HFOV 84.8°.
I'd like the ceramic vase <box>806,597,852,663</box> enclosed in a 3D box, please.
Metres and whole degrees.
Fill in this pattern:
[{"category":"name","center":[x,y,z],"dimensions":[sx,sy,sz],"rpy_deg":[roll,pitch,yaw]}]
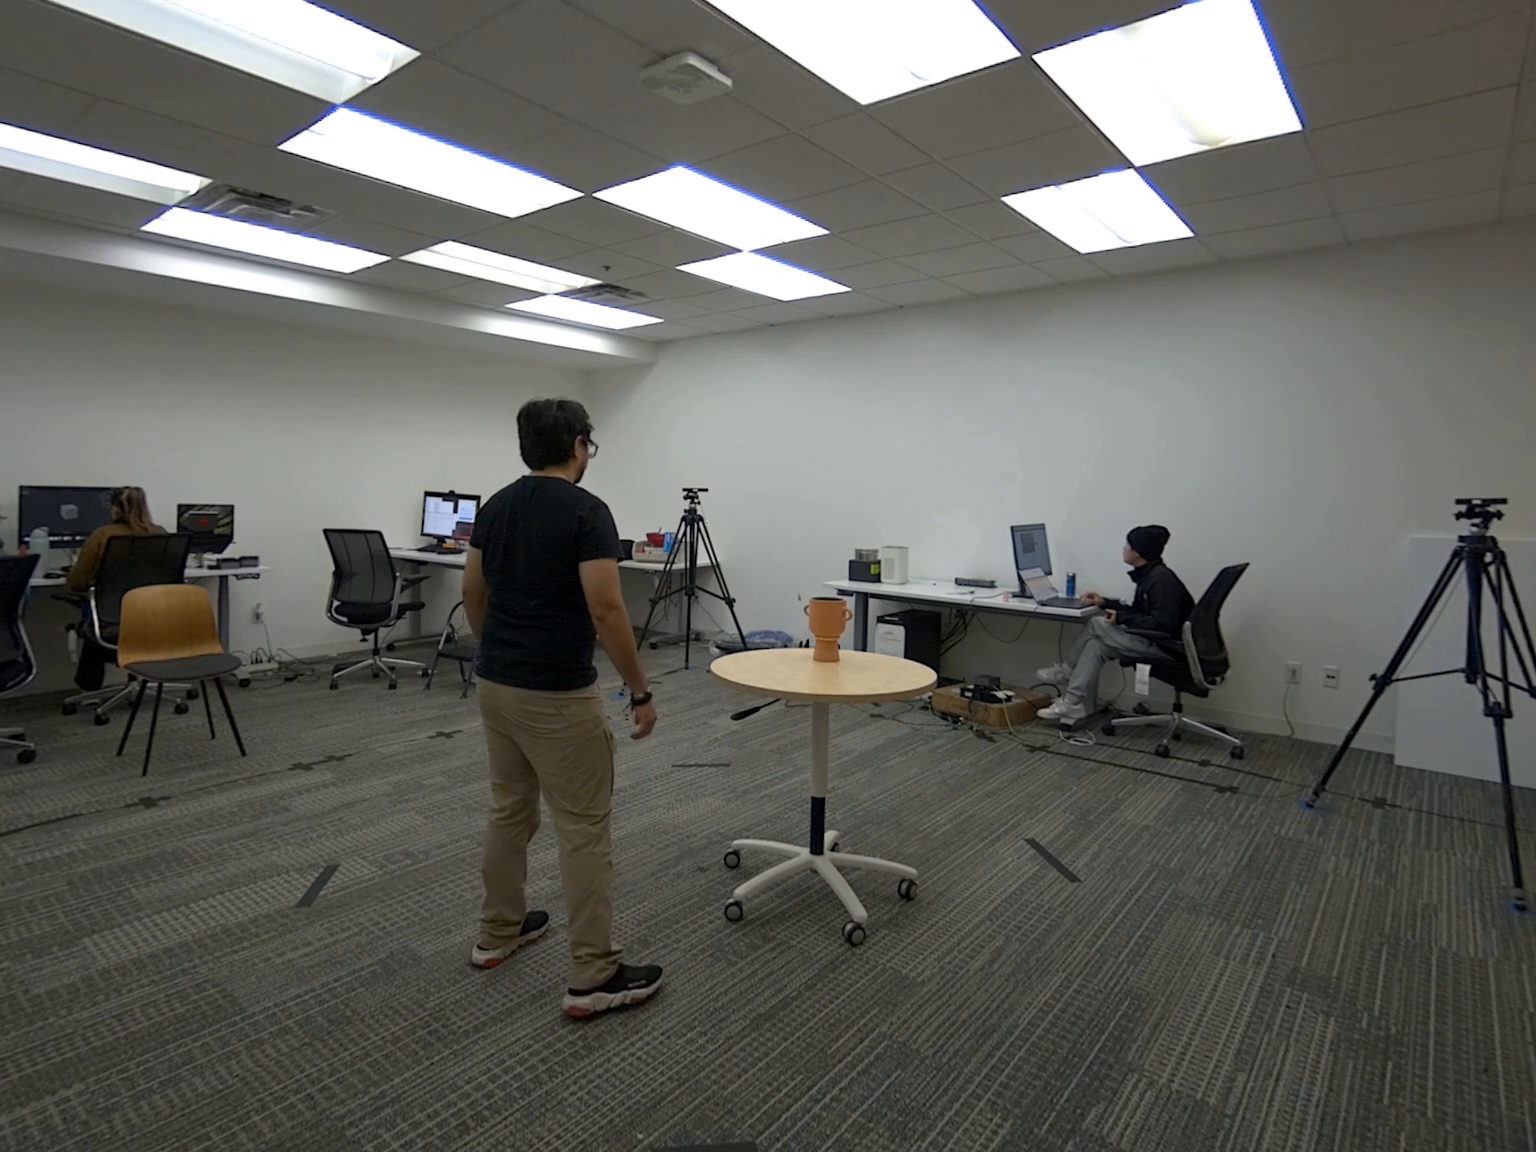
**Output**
[{"category":"ceramic vase","center":[0.204,0.191,3.071],"dimensions":[0.132,0.219,0.162],"rpy_deg":[0,3,-17]}]
